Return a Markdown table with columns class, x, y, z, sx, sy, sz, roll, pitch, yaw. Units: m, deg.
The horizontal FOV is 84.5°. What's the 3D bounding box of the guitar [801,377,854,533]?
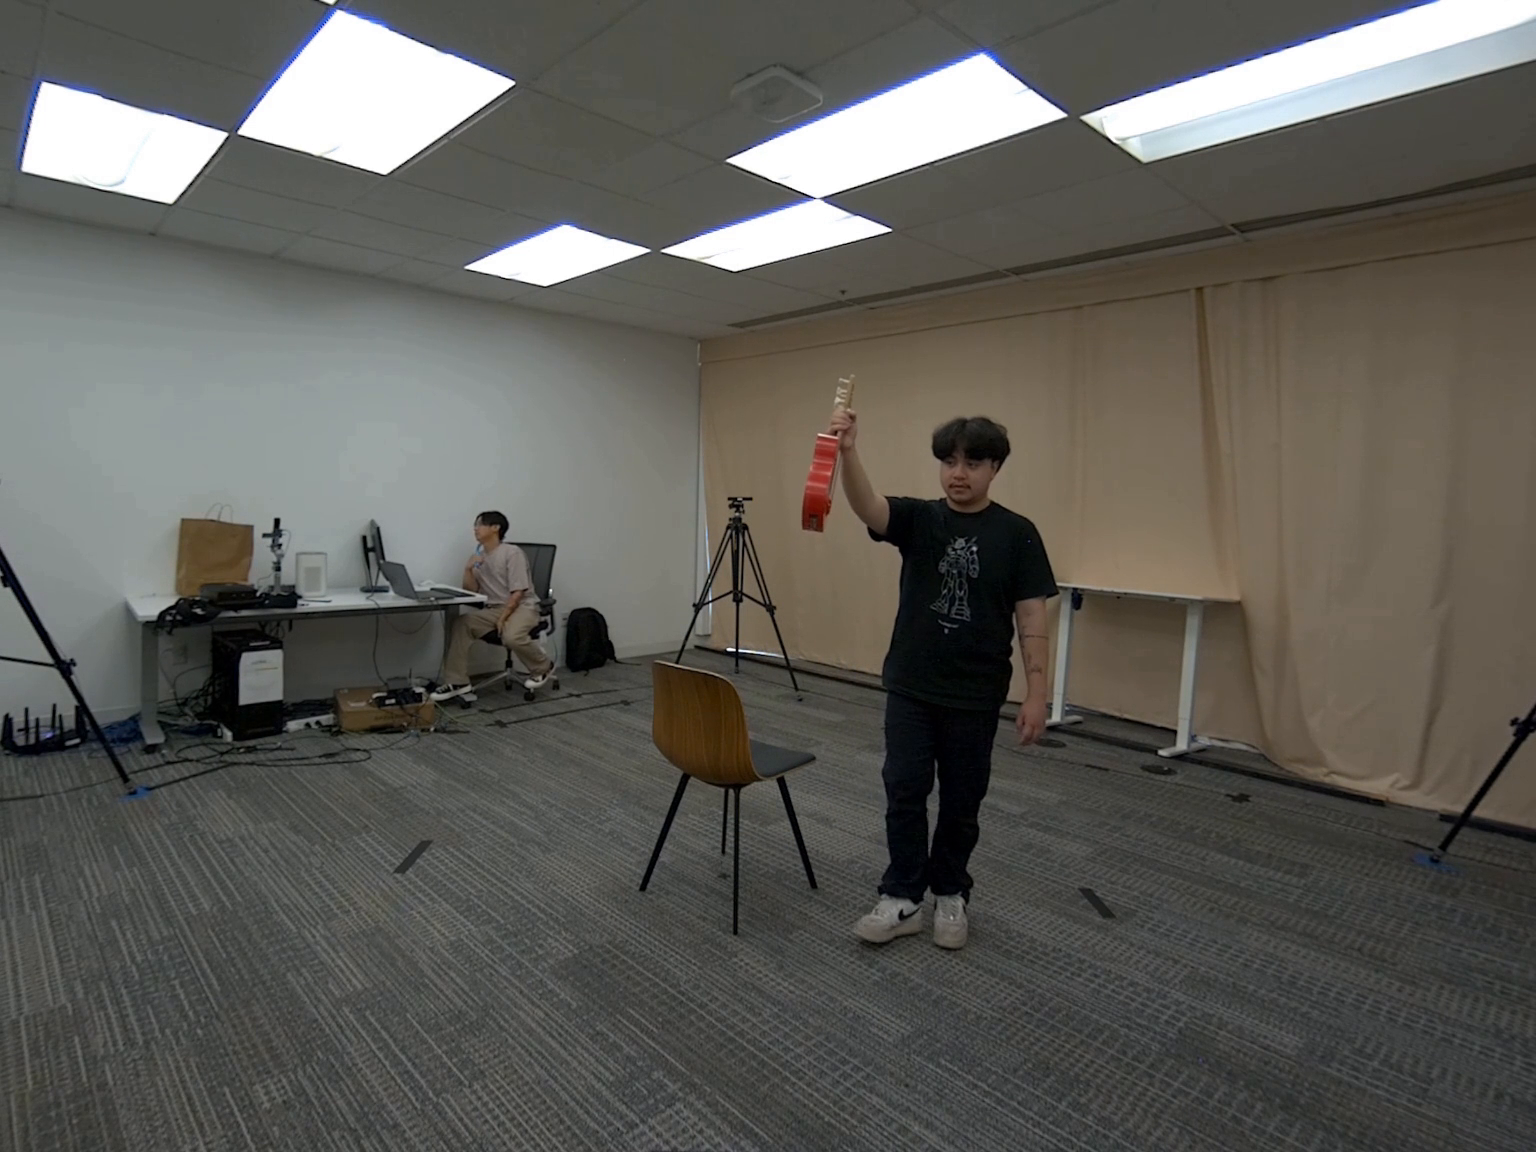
| class | x | y | z | sx | sy | sz | roll | pitch | yaw |
| --- | --- | --- | --- | --- | --- | --- | --- | --- | --- |
| guitar | 0.164 | -0.345 | 2.390 | 0.071 | 0.505 | 0.189 | 9 | -33 | 7 |
